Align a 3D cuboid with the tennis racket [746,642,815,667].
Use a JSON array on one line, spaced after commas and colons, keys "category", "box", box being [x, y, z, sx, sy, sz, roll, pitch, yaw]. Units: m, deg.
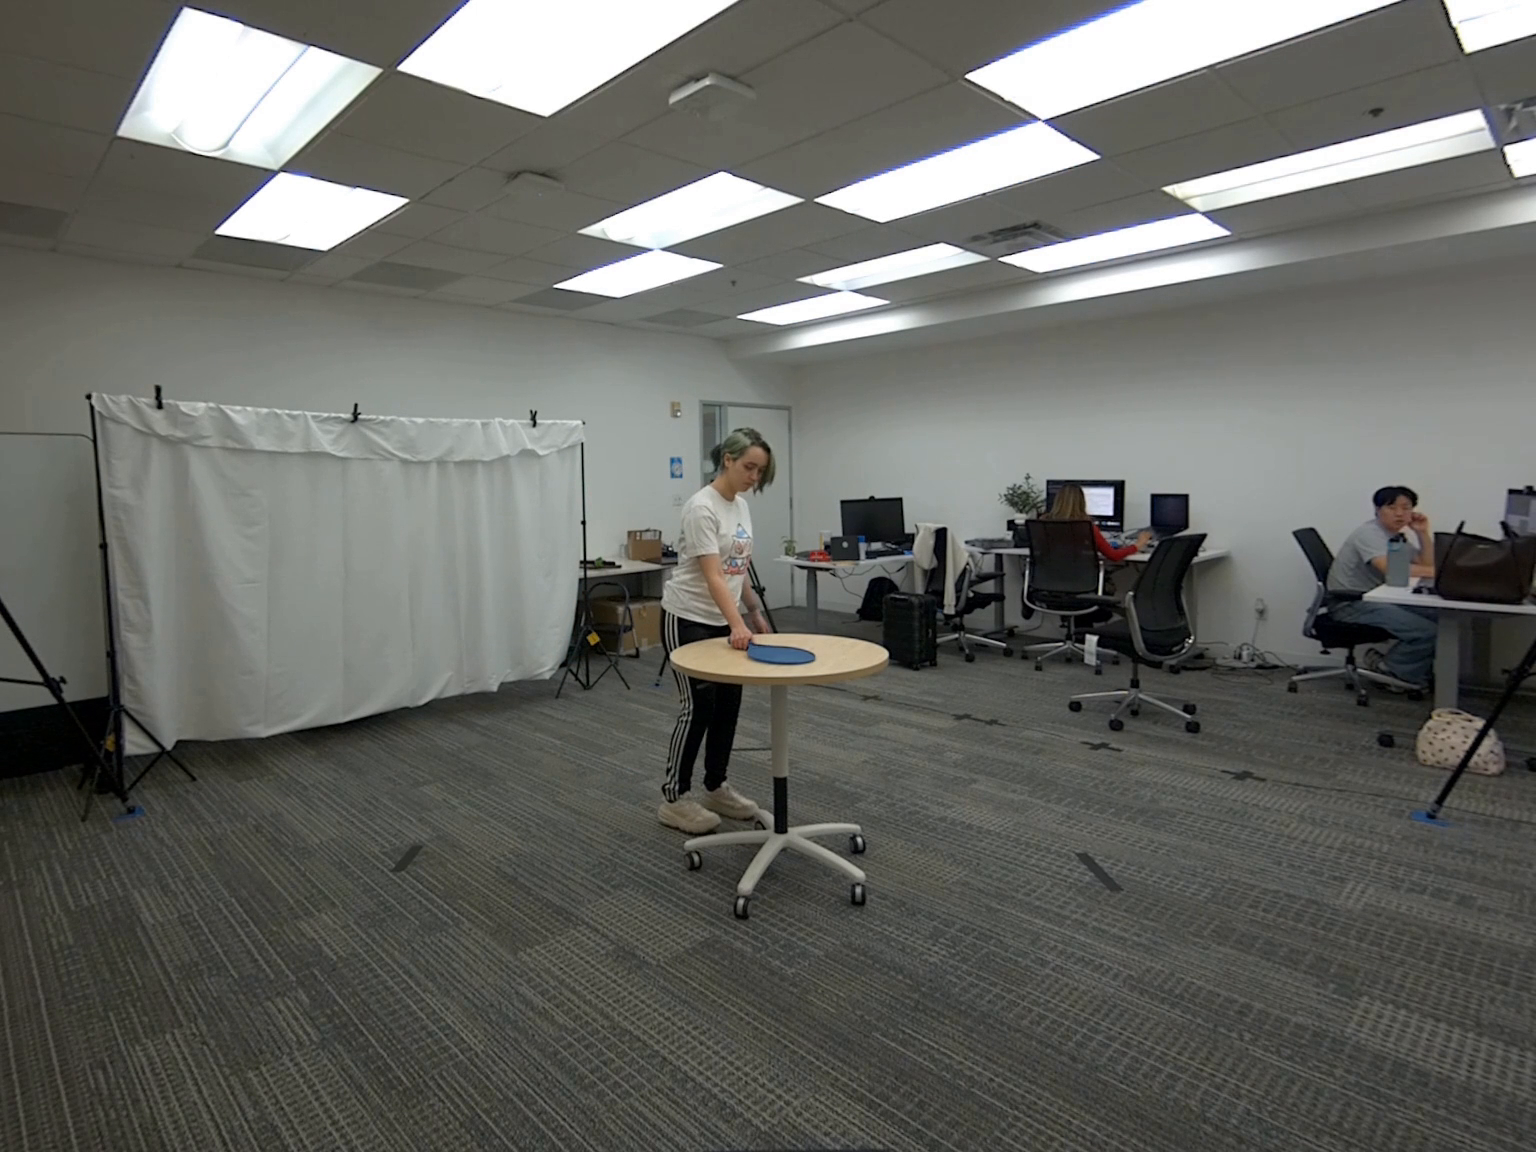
[{"category": "tennis racket", "box": [0.003, 0.265, 2.990, 0.208, 0.031, 0.445, -4, 8, -31]}]
